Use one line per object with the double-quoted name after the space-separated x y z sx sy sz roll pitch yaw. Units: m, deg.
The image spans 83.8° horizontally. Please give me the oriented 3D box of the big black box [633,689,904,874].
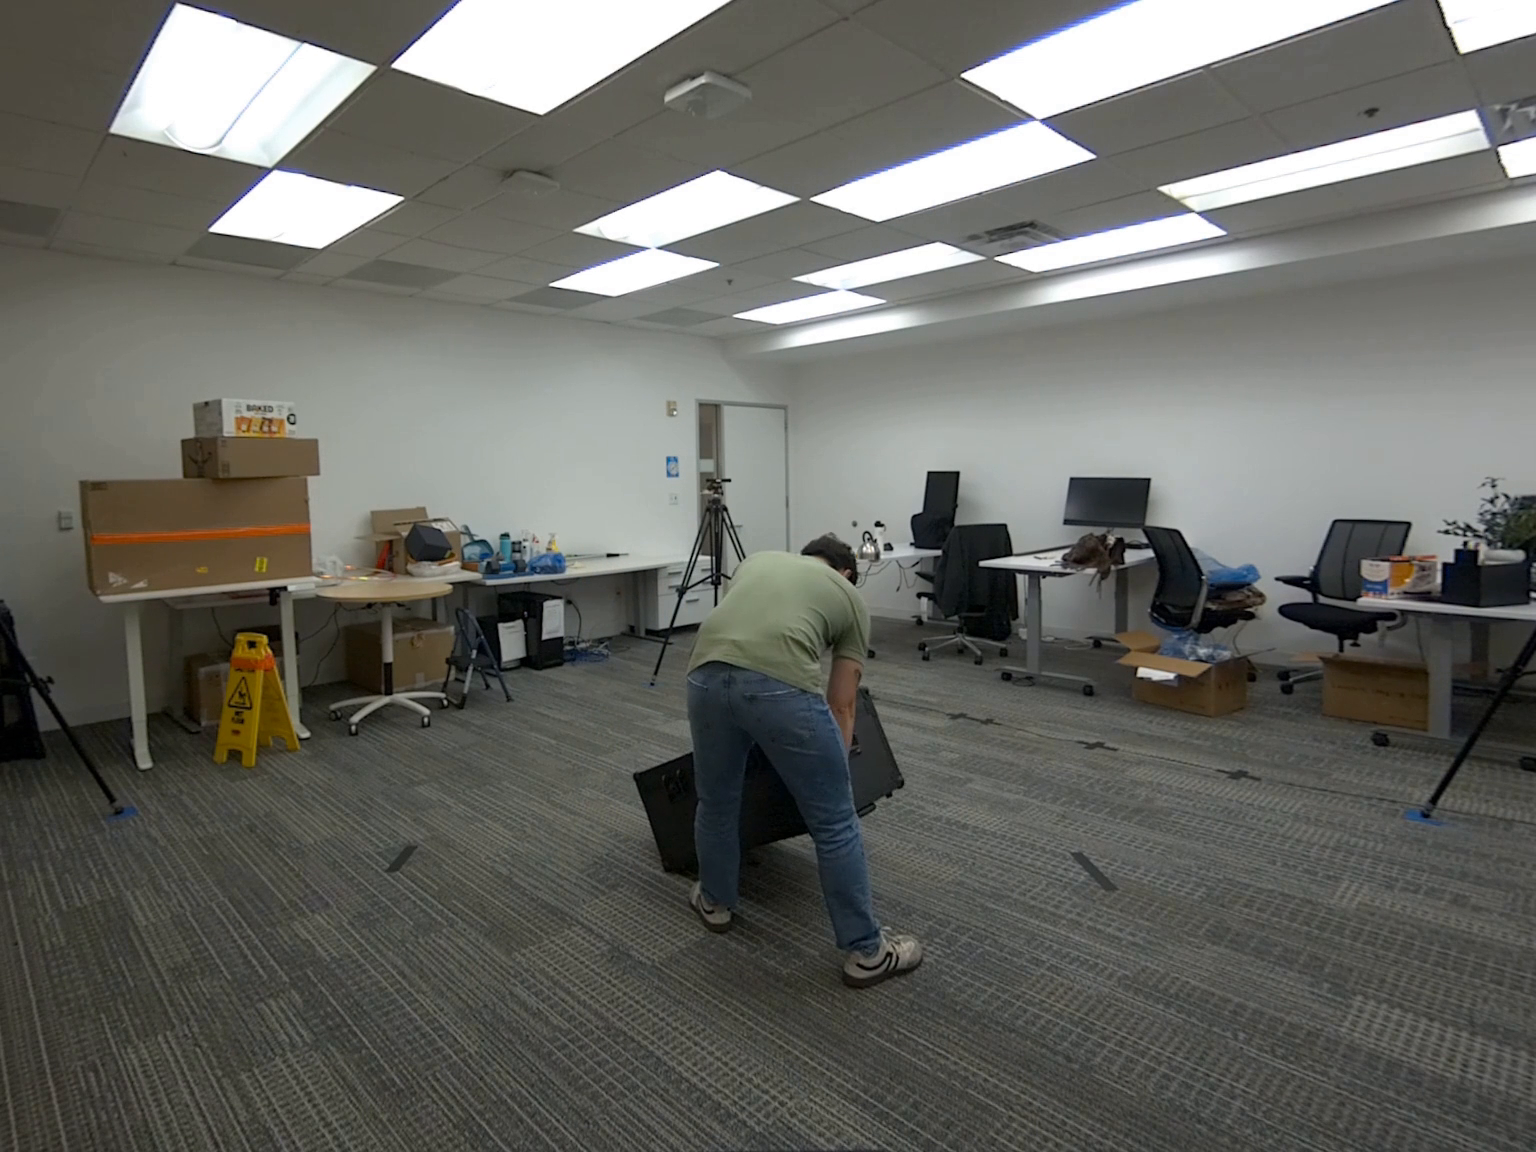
-0.026 0.747 3.058 0.872 0.402 0.508 -27 -13 37 "big black box"
